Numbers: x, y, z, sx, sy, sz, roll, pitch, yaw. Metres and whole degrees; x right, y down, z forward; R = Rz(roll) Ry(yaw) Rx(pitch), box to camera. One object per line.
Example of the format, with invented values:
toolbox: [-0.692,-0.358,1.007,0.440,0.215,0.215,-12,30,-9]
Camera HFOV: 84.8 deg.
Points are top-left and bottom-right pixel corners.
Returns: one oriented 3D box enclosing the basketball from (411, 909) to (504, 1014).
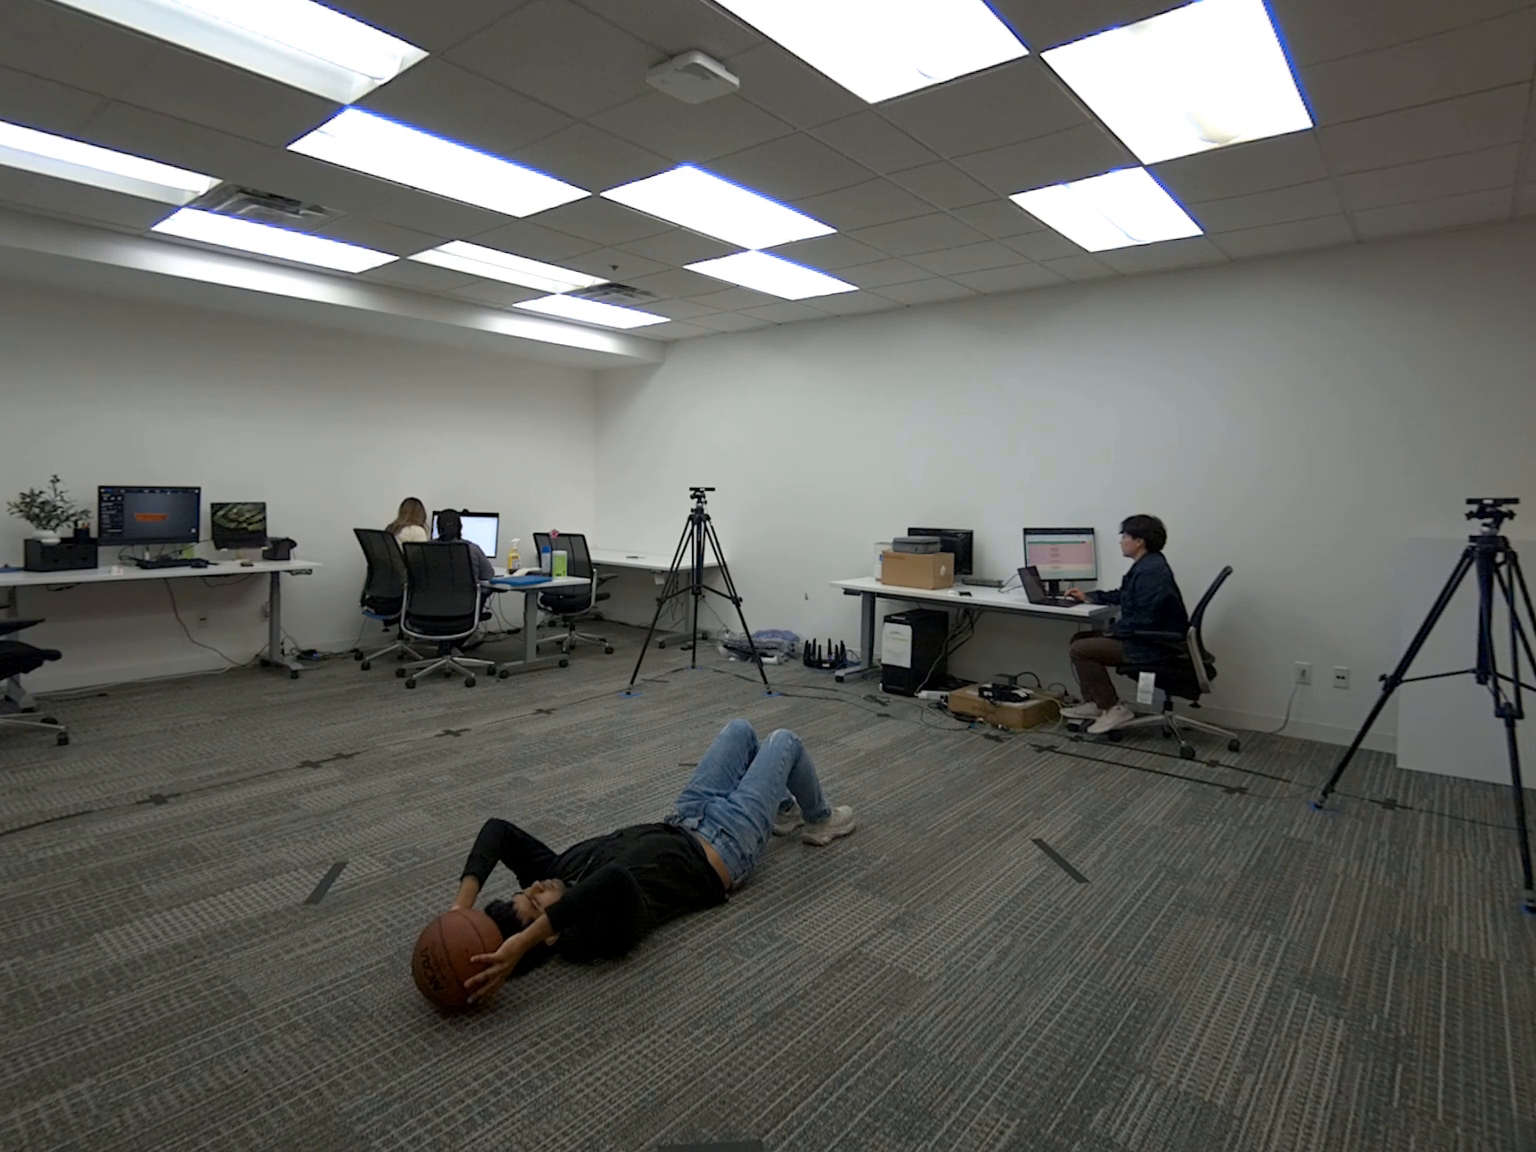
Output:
basketball: [-0.836,1.014,2.284,0.235,0.235,0.237,1,4,-2]
